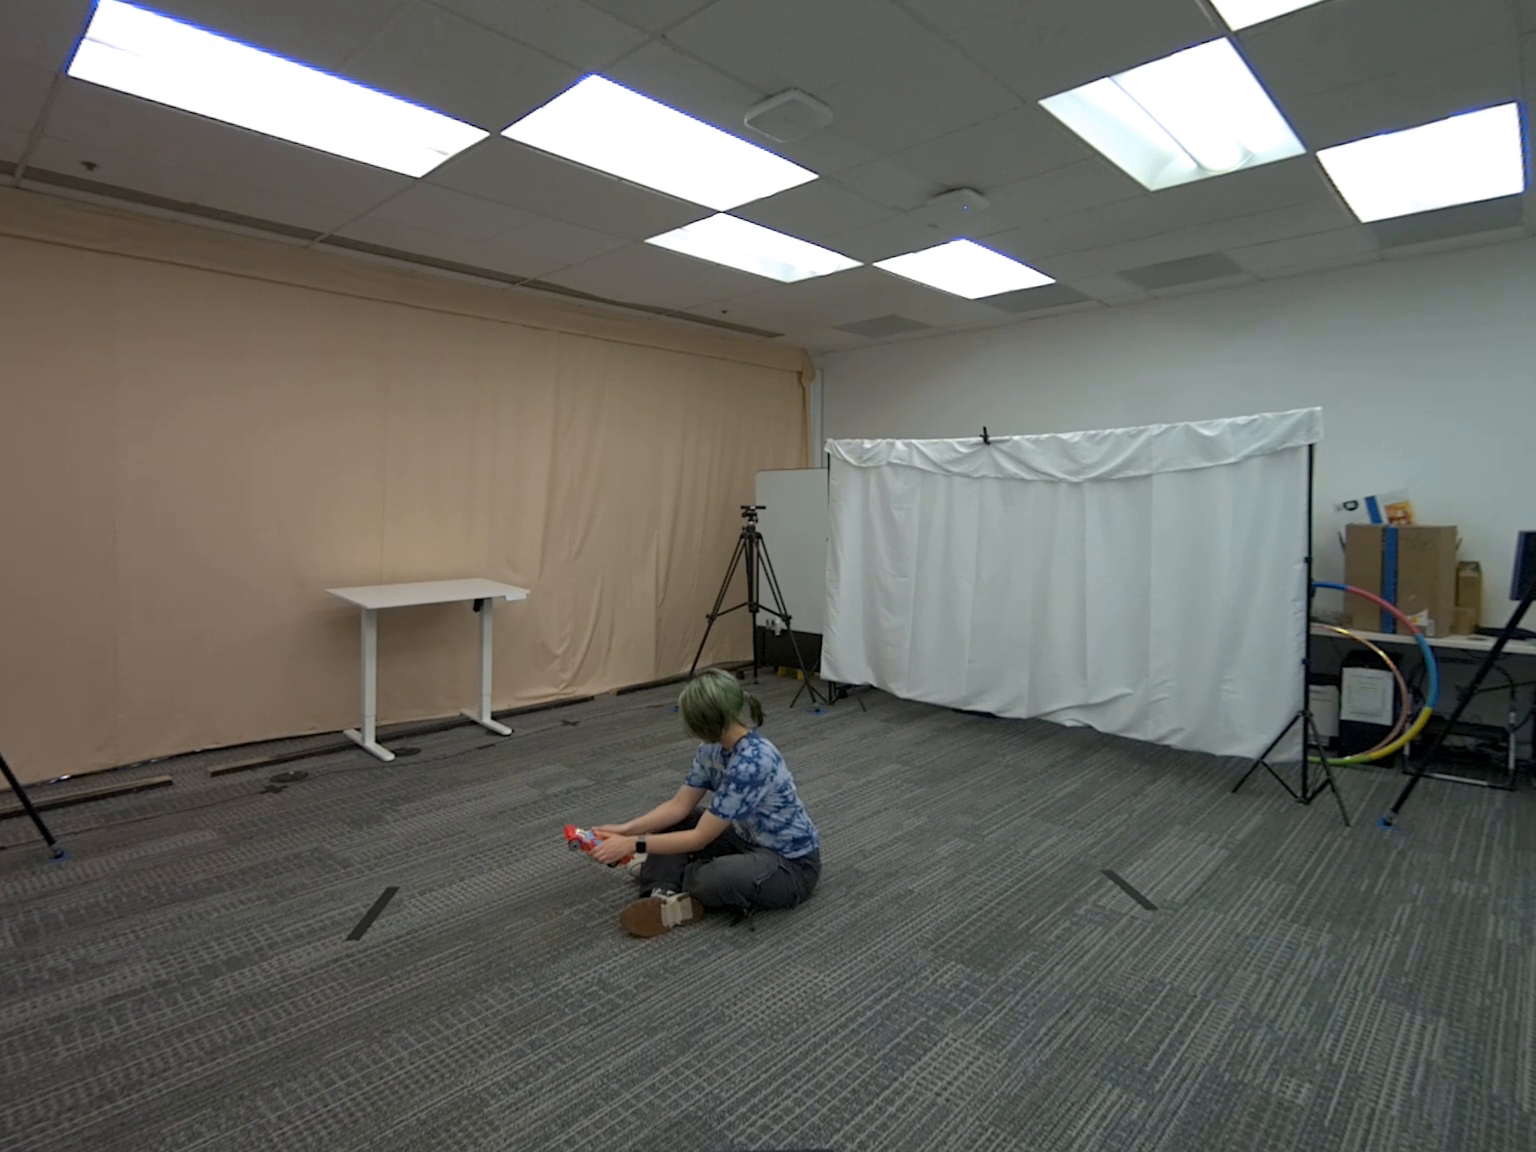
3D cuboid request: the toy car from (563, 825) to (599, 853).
[{"bbox_3d":[-0.574,0.934,2.868,0.250,0.083,0.133,21,-5,-17],"label":"toy car"}]
